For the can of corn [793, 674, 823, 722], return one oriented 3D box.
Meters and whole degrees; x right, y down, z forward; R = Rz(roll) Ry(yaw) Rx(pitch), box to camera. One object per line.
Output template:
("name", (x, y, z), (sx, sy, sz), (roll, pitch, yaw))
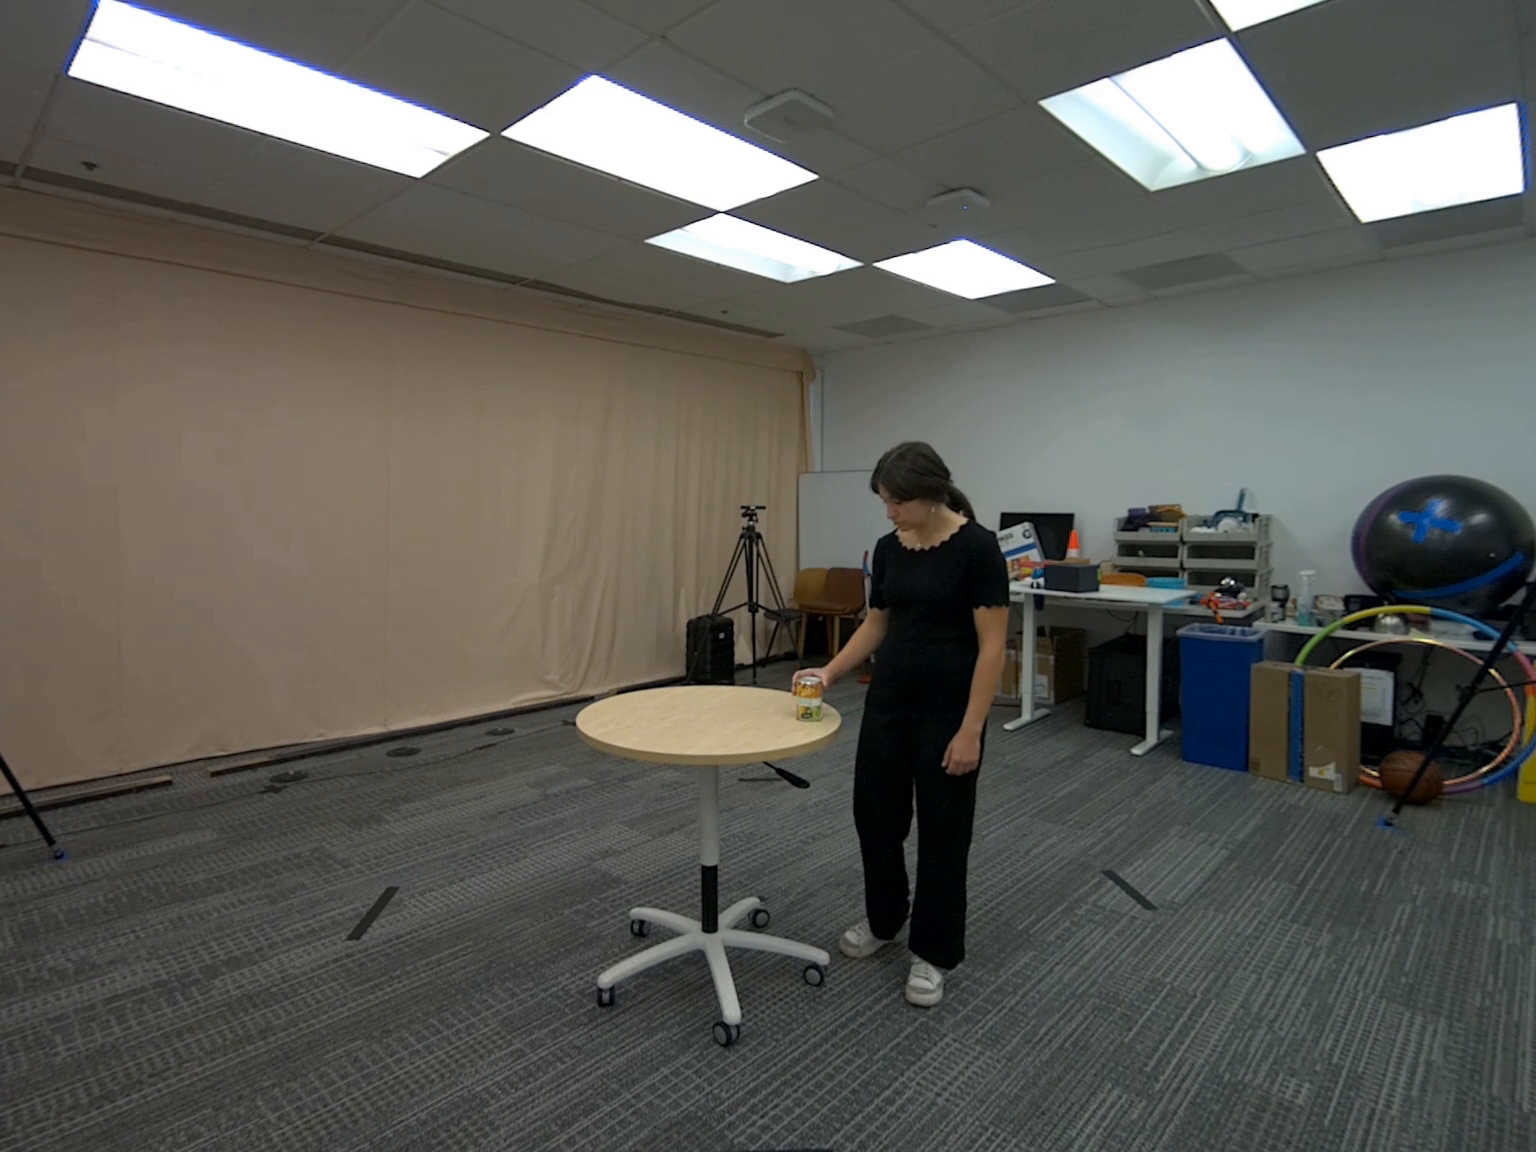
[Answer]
("can of corn", (0.117, 0.356, 2.405), (0.074, 0.111, 0.074), (5, 4, -2))
